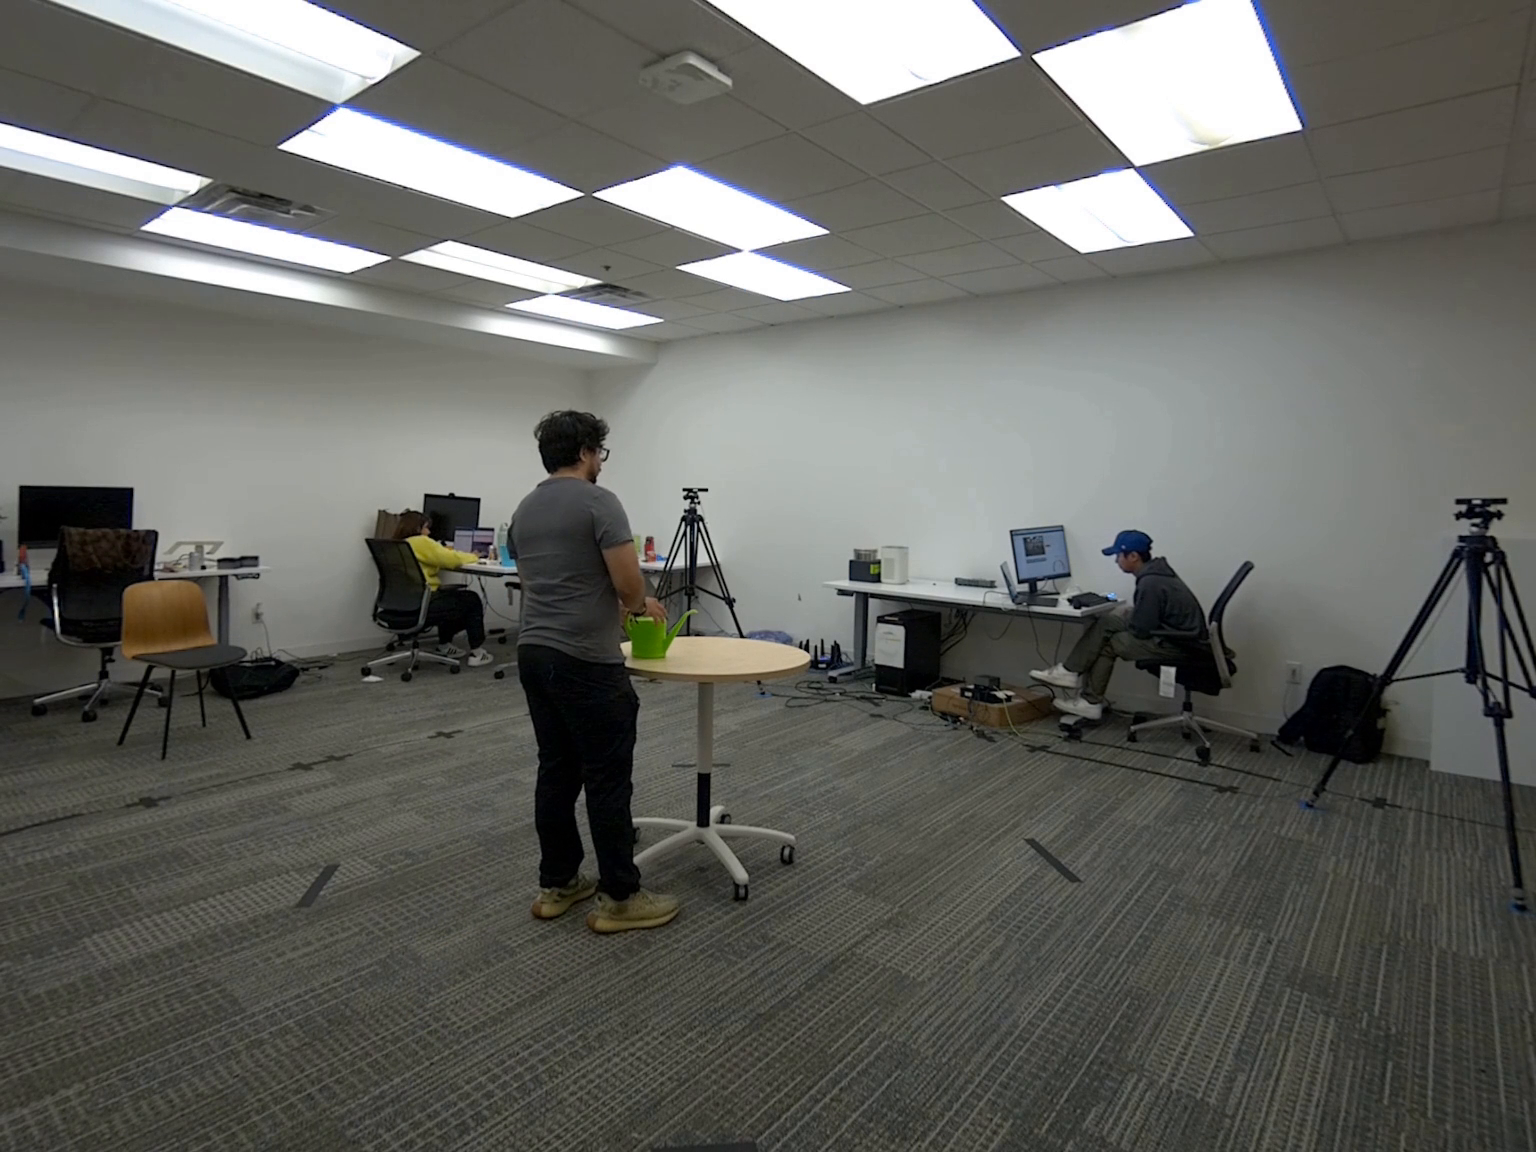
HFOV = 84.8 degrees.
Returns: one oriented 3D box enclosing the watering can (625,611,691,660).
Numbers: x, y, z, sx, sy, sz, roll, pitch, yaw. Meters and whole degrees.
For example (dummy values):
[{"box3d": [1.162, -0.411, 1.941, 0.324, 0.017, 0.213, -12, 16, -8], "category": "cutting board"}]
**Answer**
[{"box3d": [-0.396, 0.202, 3.027, 0.286, 0.176, 0.096, 2, 7, 30], "category": "watering can"}]
